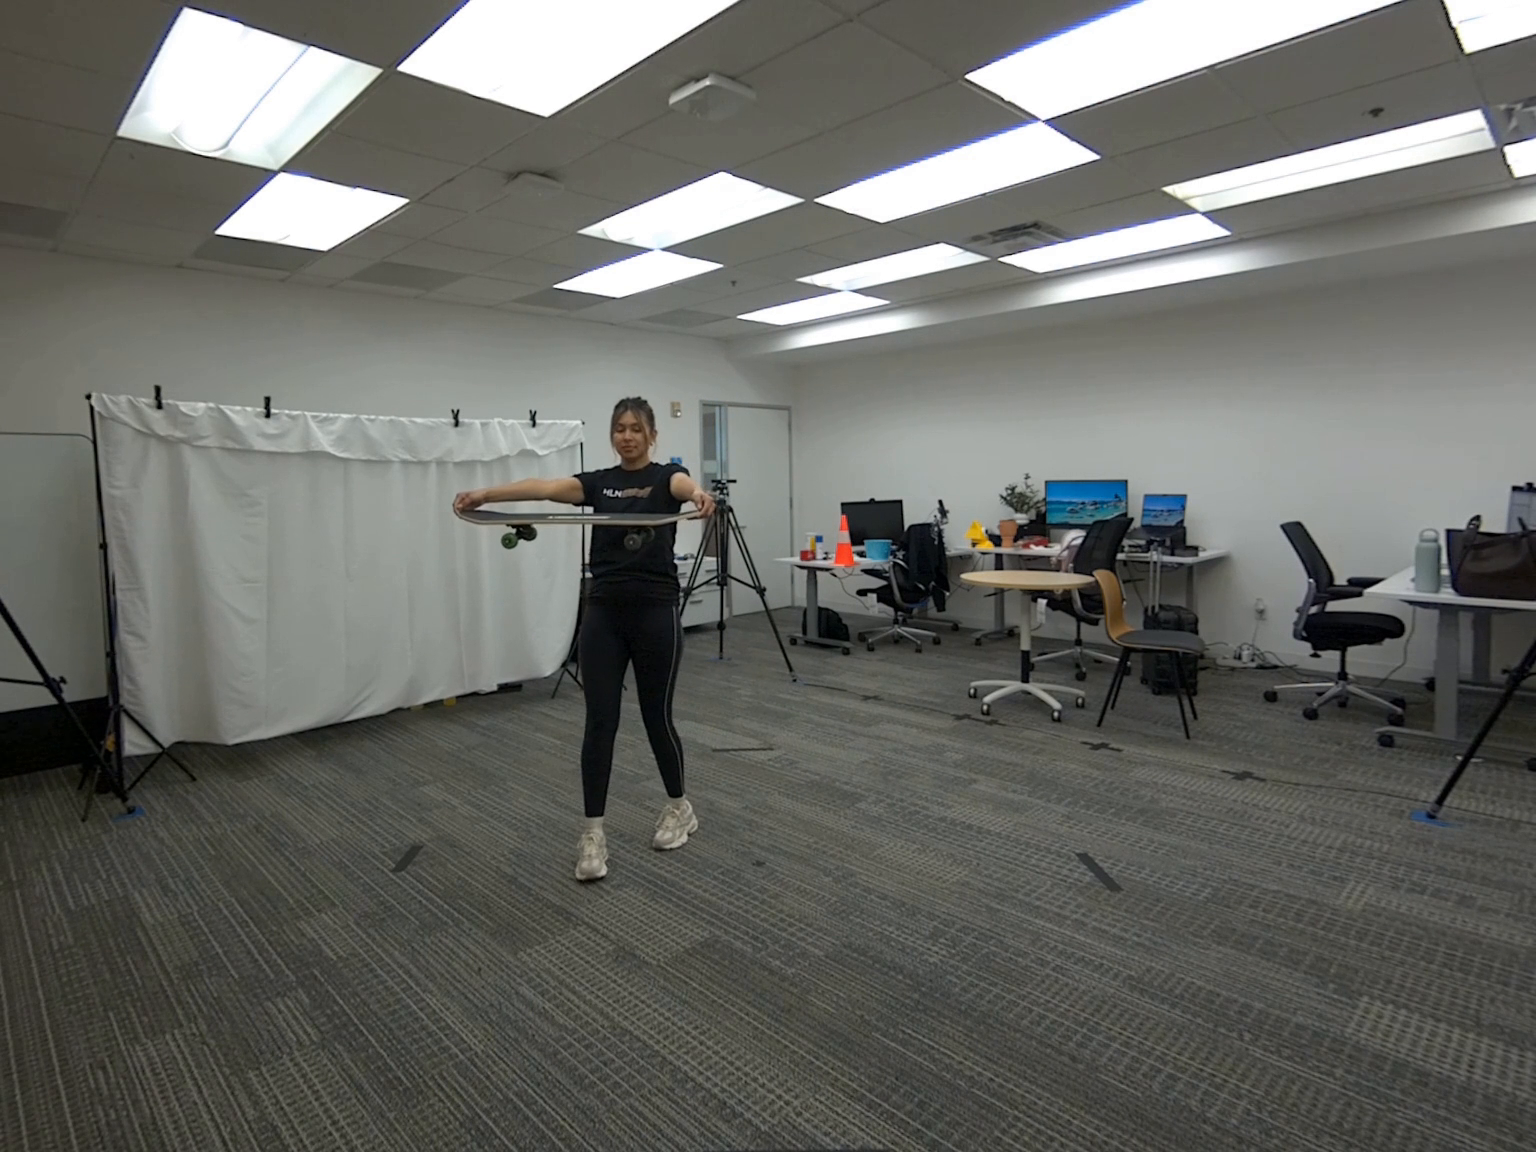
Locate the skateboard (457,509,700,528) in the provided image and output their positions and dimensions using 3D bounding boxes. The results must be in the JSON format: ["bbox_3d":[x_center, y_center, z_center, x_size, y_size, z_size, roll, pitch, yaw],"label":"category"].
[{"bbox_3d":[-0.589,-0.152,2.694,0.791,0.109,0.194,0,12,8],"label":"skateboard"}]
